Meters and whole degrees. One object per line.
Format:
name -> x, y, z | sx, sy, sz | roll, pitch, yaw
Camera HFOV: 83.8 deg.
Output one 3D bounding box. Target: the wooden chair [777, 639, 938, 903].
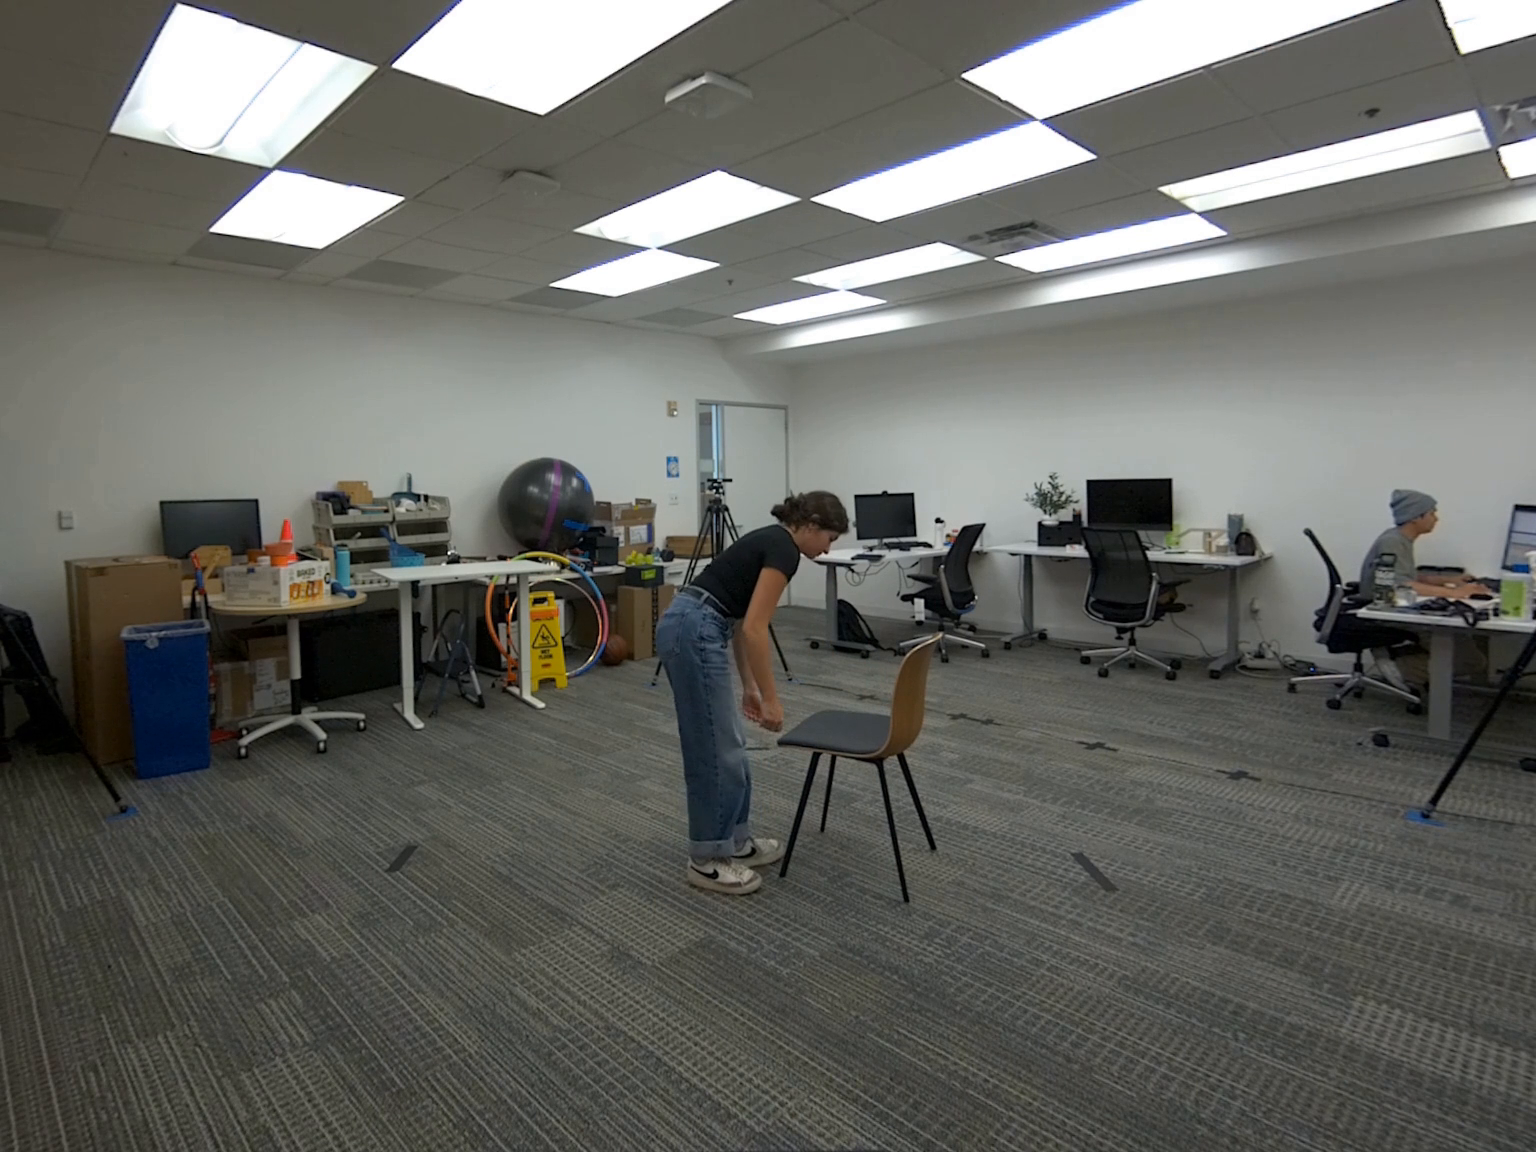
wooden chair -> 0.317, 0.611, 3.066 | 0.536, 0.873, 0.469 | 6, 7, 24
